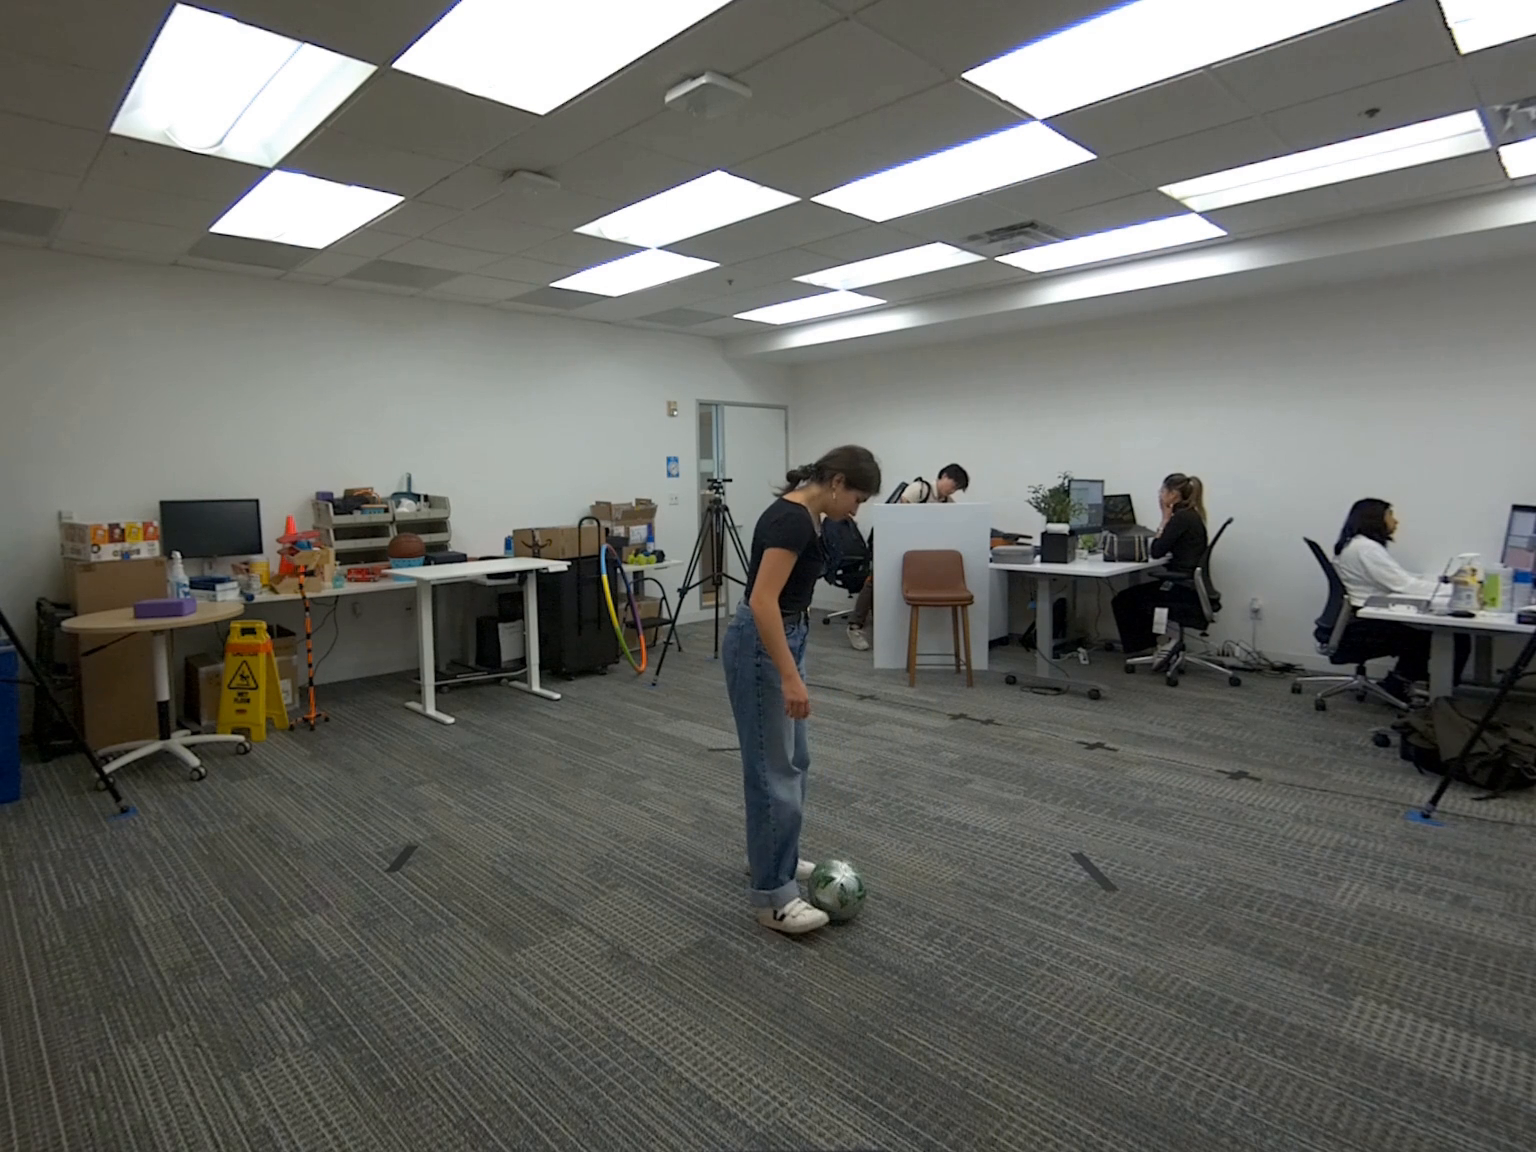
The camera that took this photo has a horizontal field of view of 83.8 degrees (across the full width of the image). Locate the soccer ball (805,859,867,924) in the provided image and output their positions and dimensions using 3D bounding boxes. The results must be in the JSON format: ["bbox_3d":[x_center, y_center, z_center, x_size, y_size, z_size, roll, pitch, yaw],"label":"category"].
[{"bbox_3d":[0.227,0.989,2.718,0.187,0.187,0.188,-1,5,-2],"label":"soccer ball"}]
